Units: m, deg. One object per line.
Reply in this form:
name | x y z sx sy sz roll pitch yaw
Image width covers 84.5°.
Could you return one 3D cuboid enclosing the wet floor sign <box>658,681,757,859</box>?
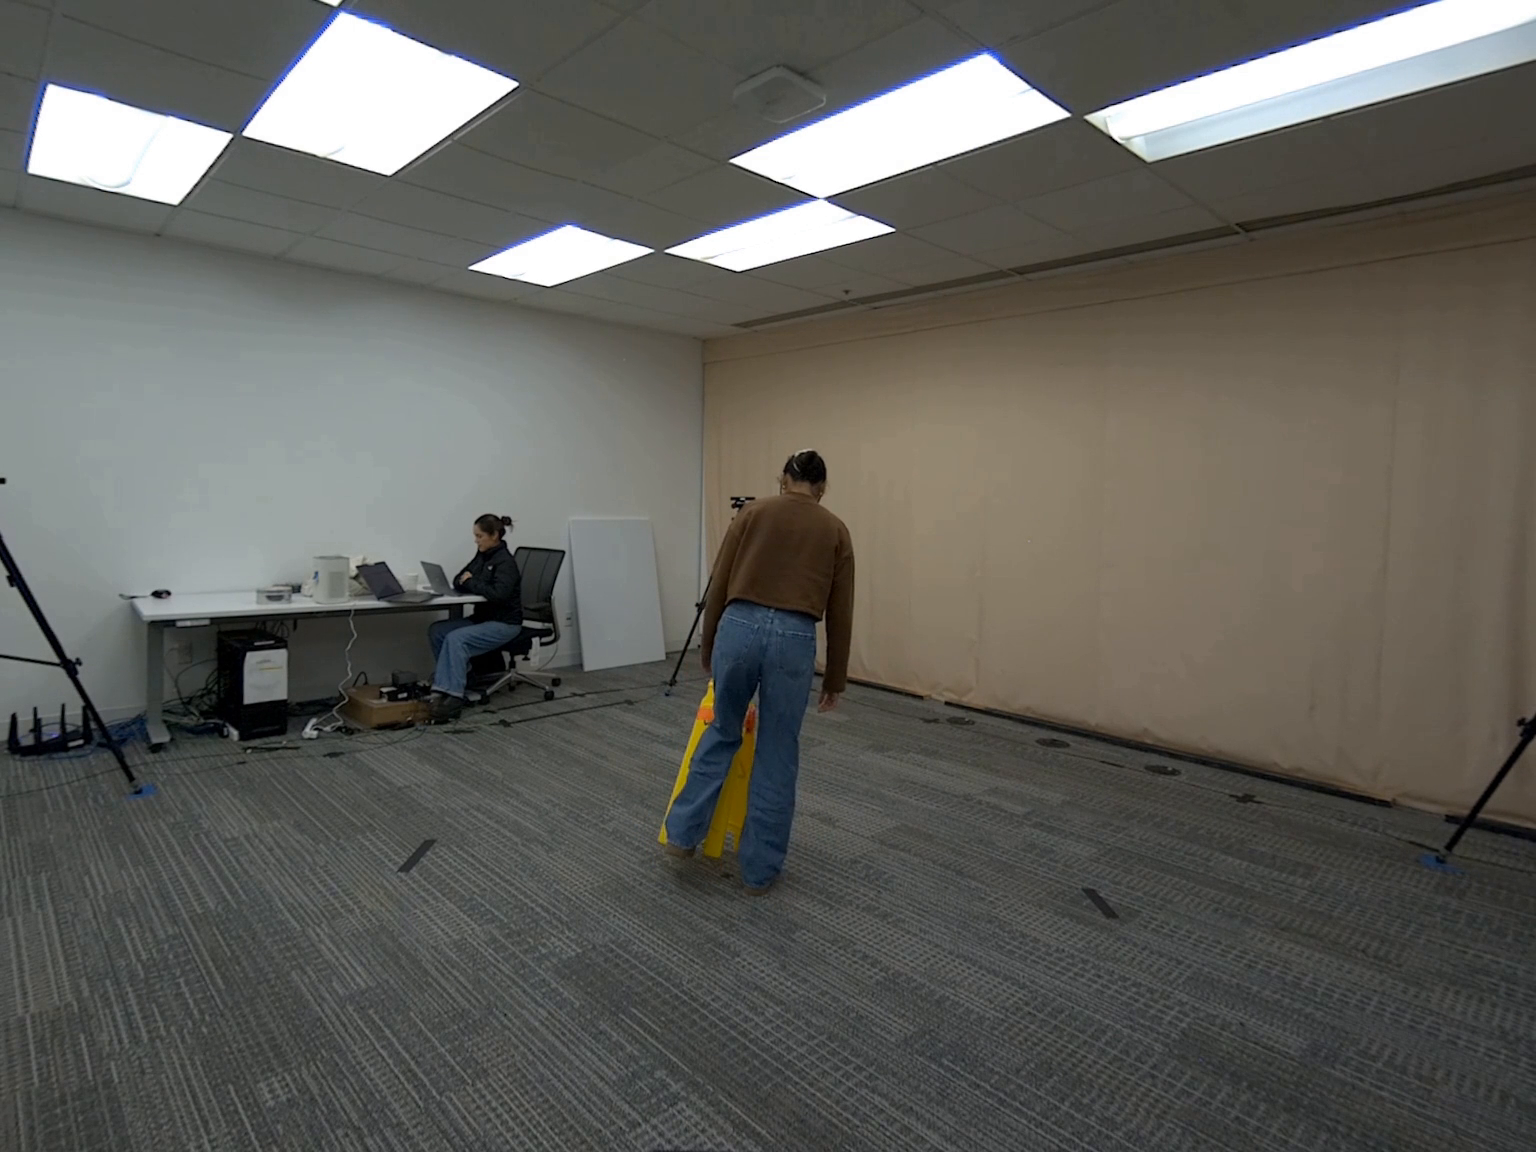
wet floor sign | -0.204 0.741 3.320 0.288 0.650 0.282 6 -11 26
